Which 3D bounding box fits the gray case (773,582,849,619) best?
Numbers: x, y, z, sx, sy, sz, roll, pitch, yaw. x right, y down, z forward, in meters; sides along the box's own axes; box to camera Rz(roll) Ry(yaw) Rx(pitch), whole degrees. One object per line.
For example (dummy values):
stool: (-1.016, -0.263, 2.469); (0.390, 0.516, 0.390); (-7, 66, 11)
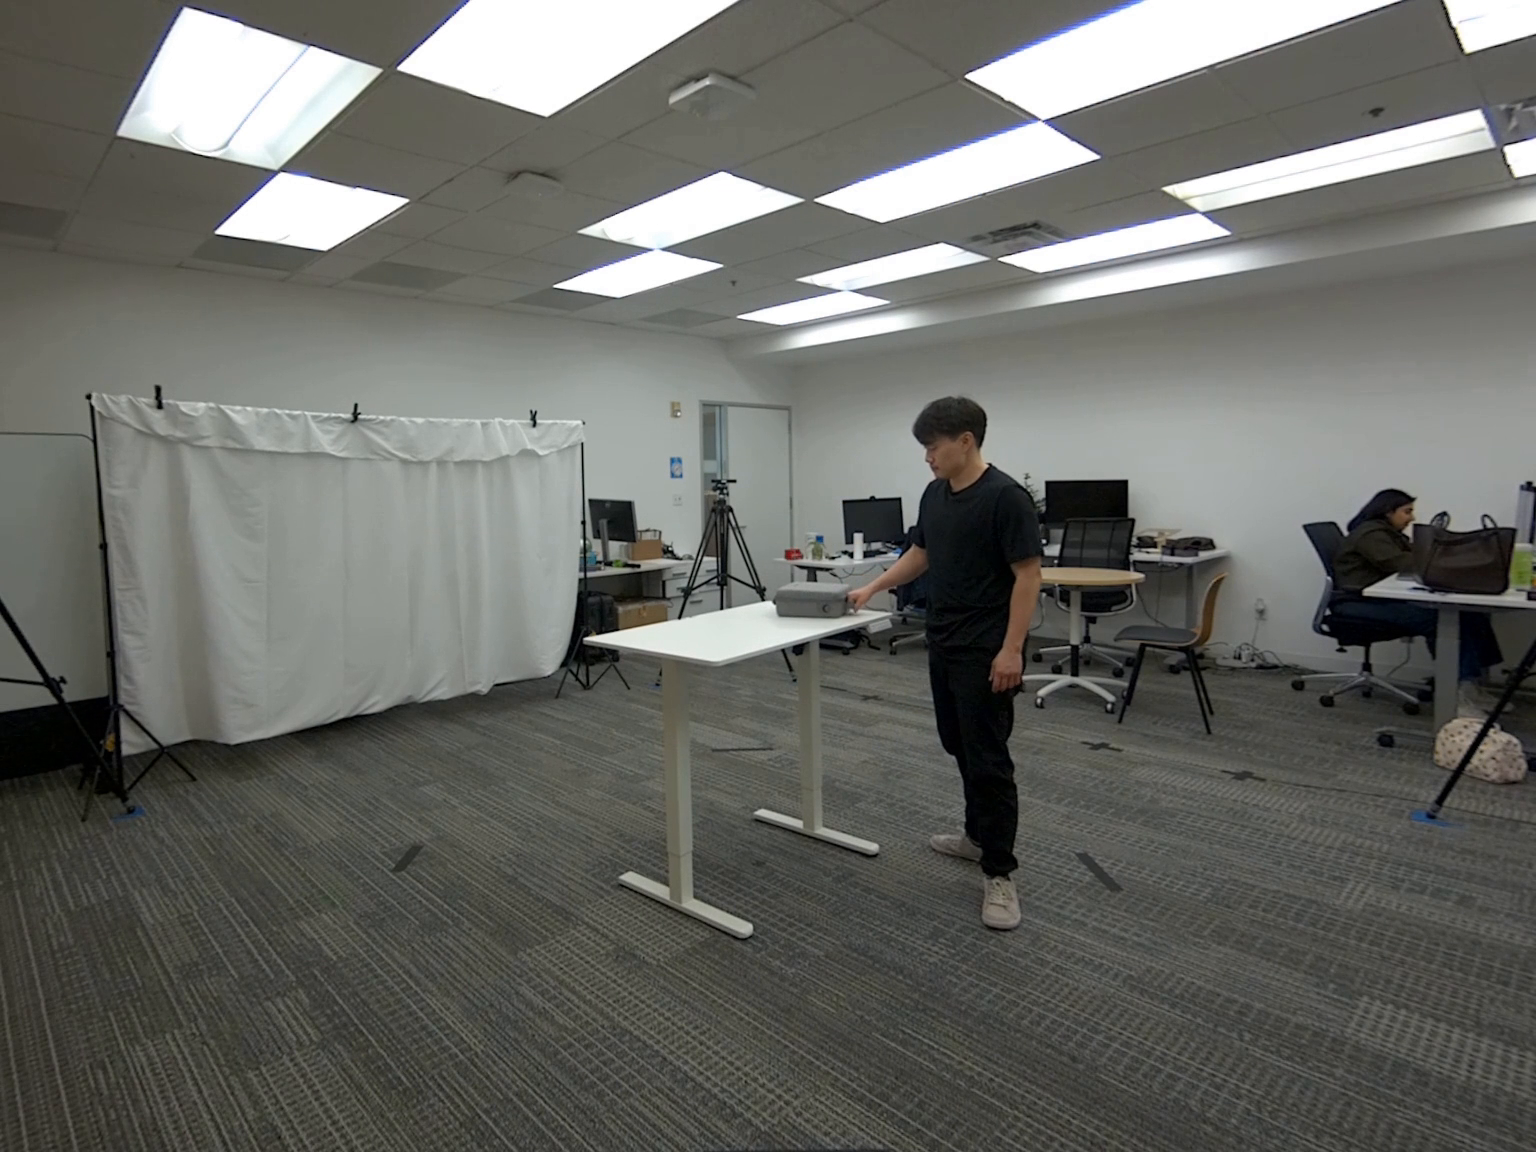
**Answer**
gray case: (0.179, 0.088, 3.254); (0.265, 0.104, 0.254); (2, 7, 18)
